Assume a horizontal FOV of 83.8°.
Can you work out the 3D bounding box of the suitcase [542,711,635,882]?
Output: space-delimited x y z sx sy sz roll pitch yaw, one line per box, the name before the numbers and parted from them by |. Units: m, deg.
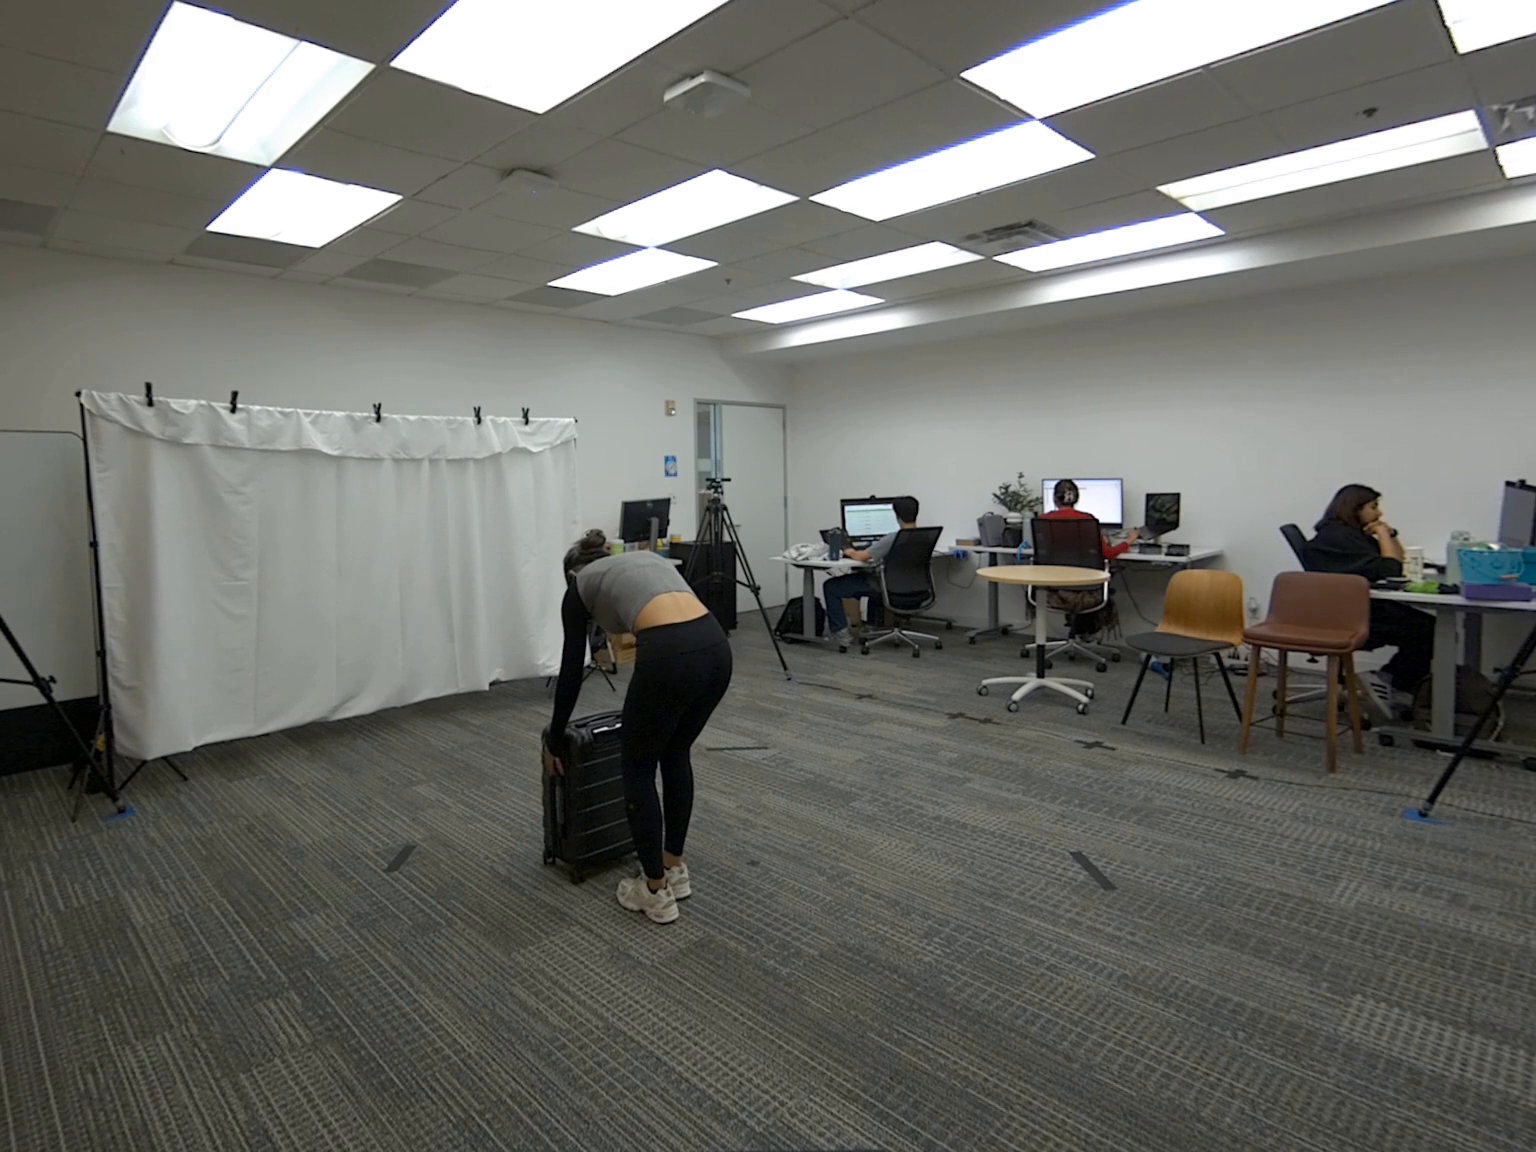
suitcase | -0.630 0.778 3.118 0.366 0.546 0.256 -6 8 -41
